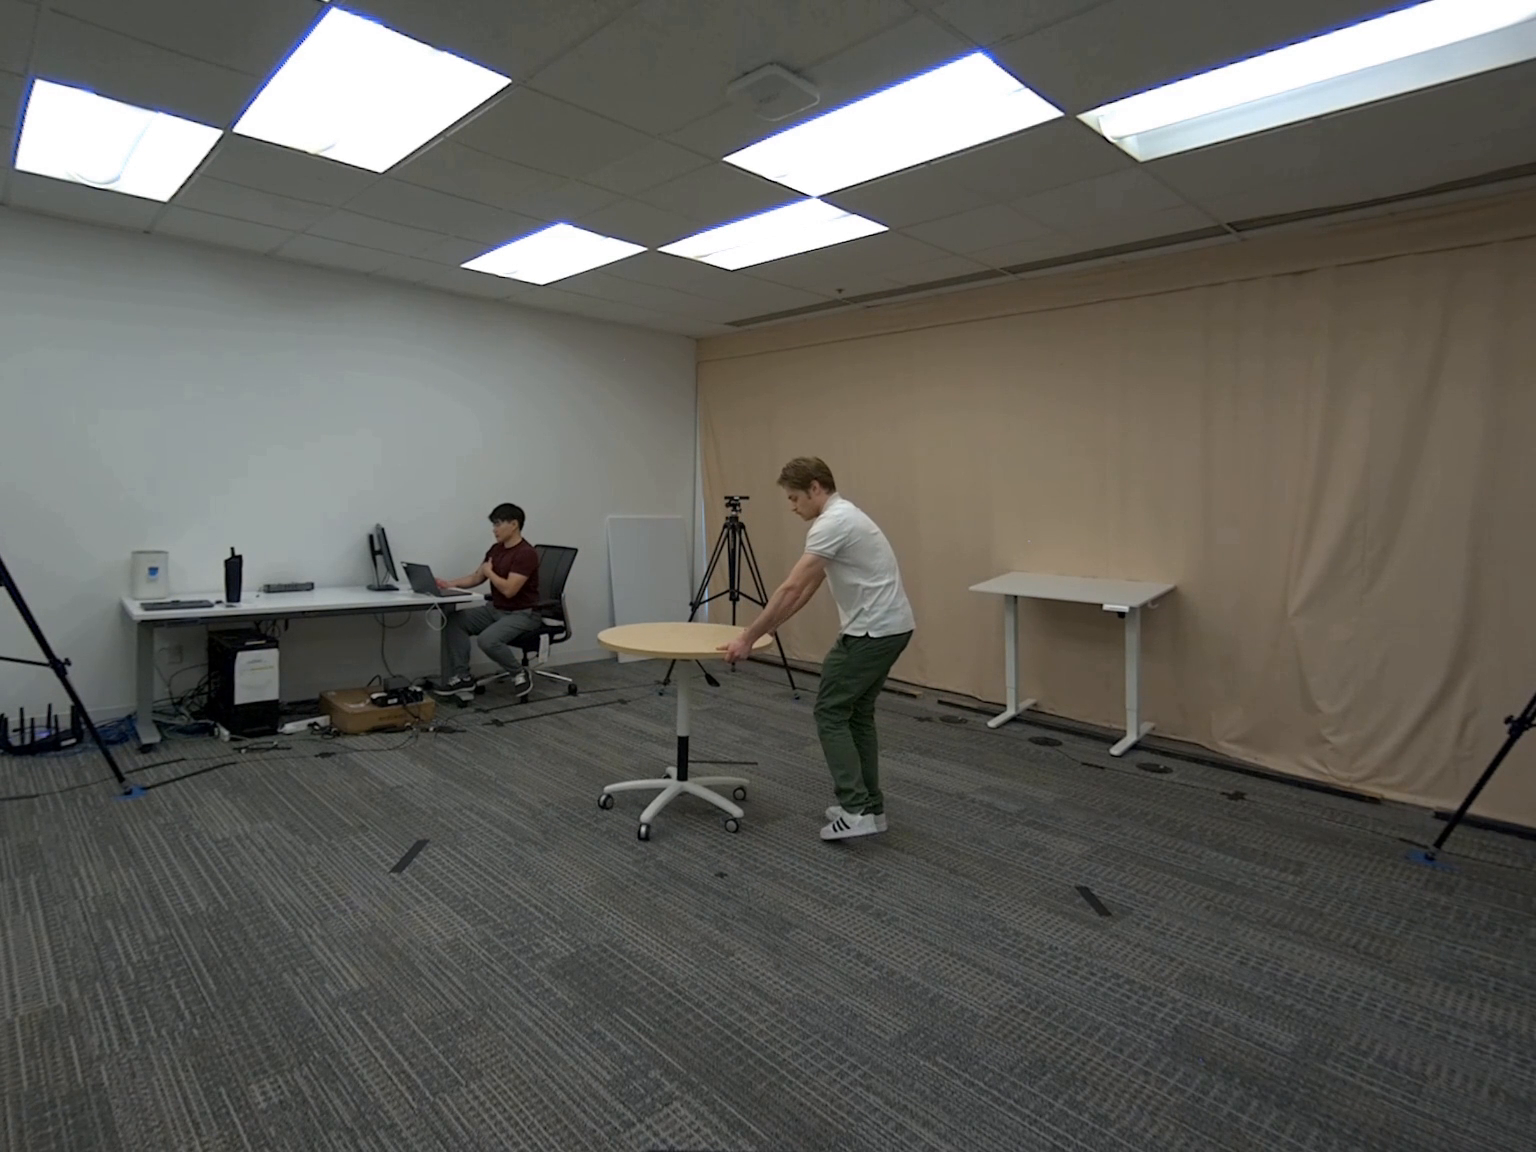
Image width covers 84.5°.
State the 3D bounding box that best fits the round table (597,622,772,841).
[{"bbox_3d":[-0.369,0.648,3.710,0.784,0.784,0.788,2,4,-1],"label":"round table"}]
